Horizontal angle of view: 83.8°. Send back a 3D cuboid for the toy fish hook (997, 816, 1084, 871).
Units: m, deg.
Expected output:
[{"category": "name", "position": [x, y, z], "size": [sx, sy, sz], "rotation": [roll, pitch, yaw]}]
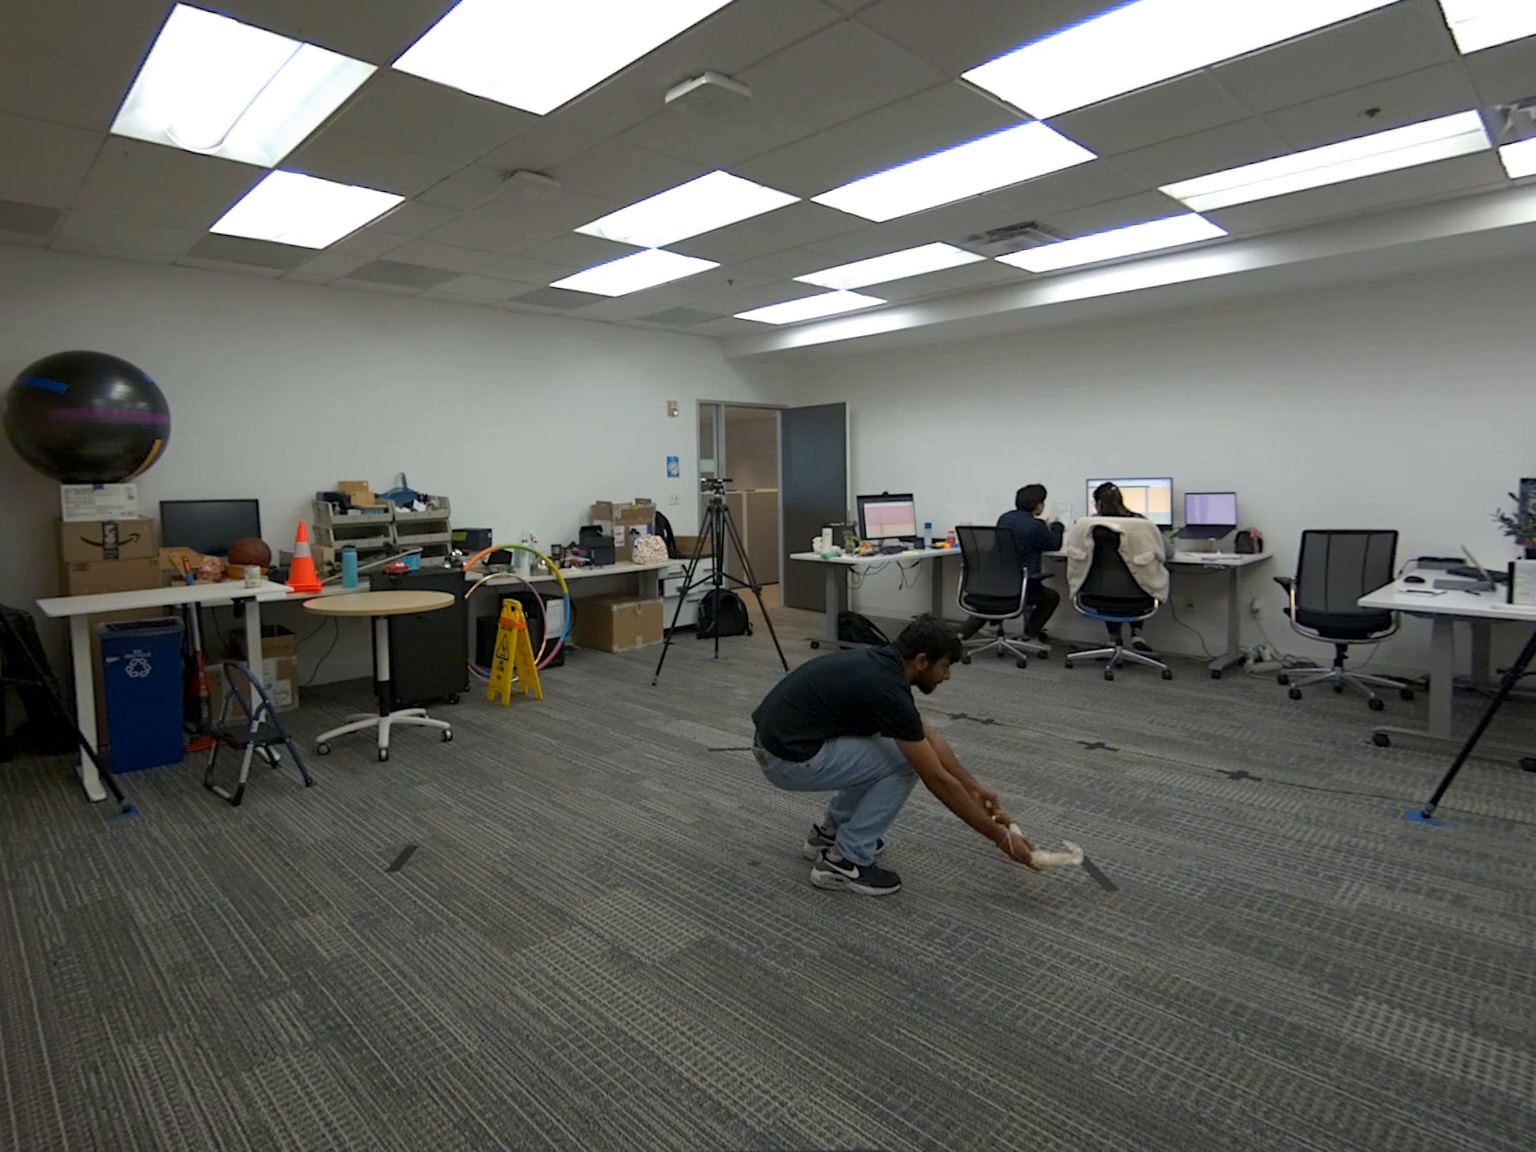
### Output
[{"category": "toy fish hook", "position": [0.922, 0.893, 3.002], "size": [0.223, 0.048, 0.510], "rotation": [7, 3, -6]}]
